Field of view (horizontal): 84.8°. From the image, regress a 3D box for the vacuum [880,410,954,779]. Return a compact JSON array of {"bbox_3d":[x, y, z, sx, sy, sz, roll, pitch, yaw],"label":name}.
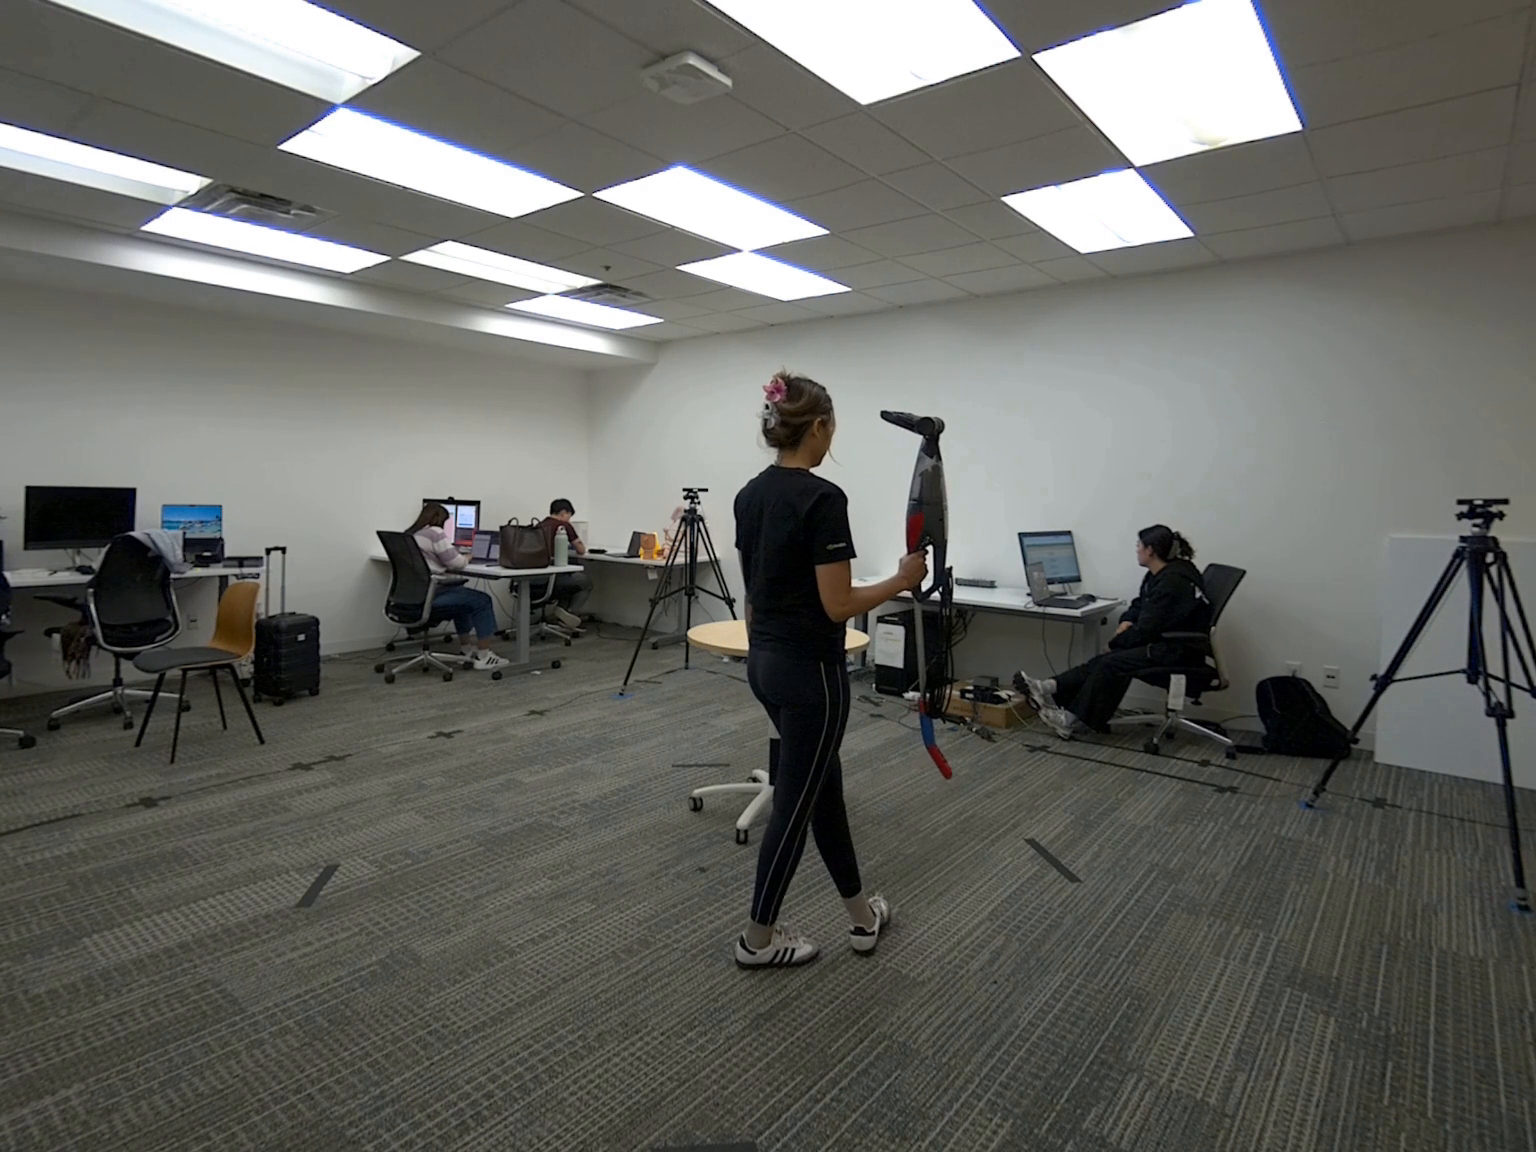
[{"bbox_3d":[0.472,0.069,2.428,0.147,1.048,0.247,-5,2,28],"label":"vacuum"}]
